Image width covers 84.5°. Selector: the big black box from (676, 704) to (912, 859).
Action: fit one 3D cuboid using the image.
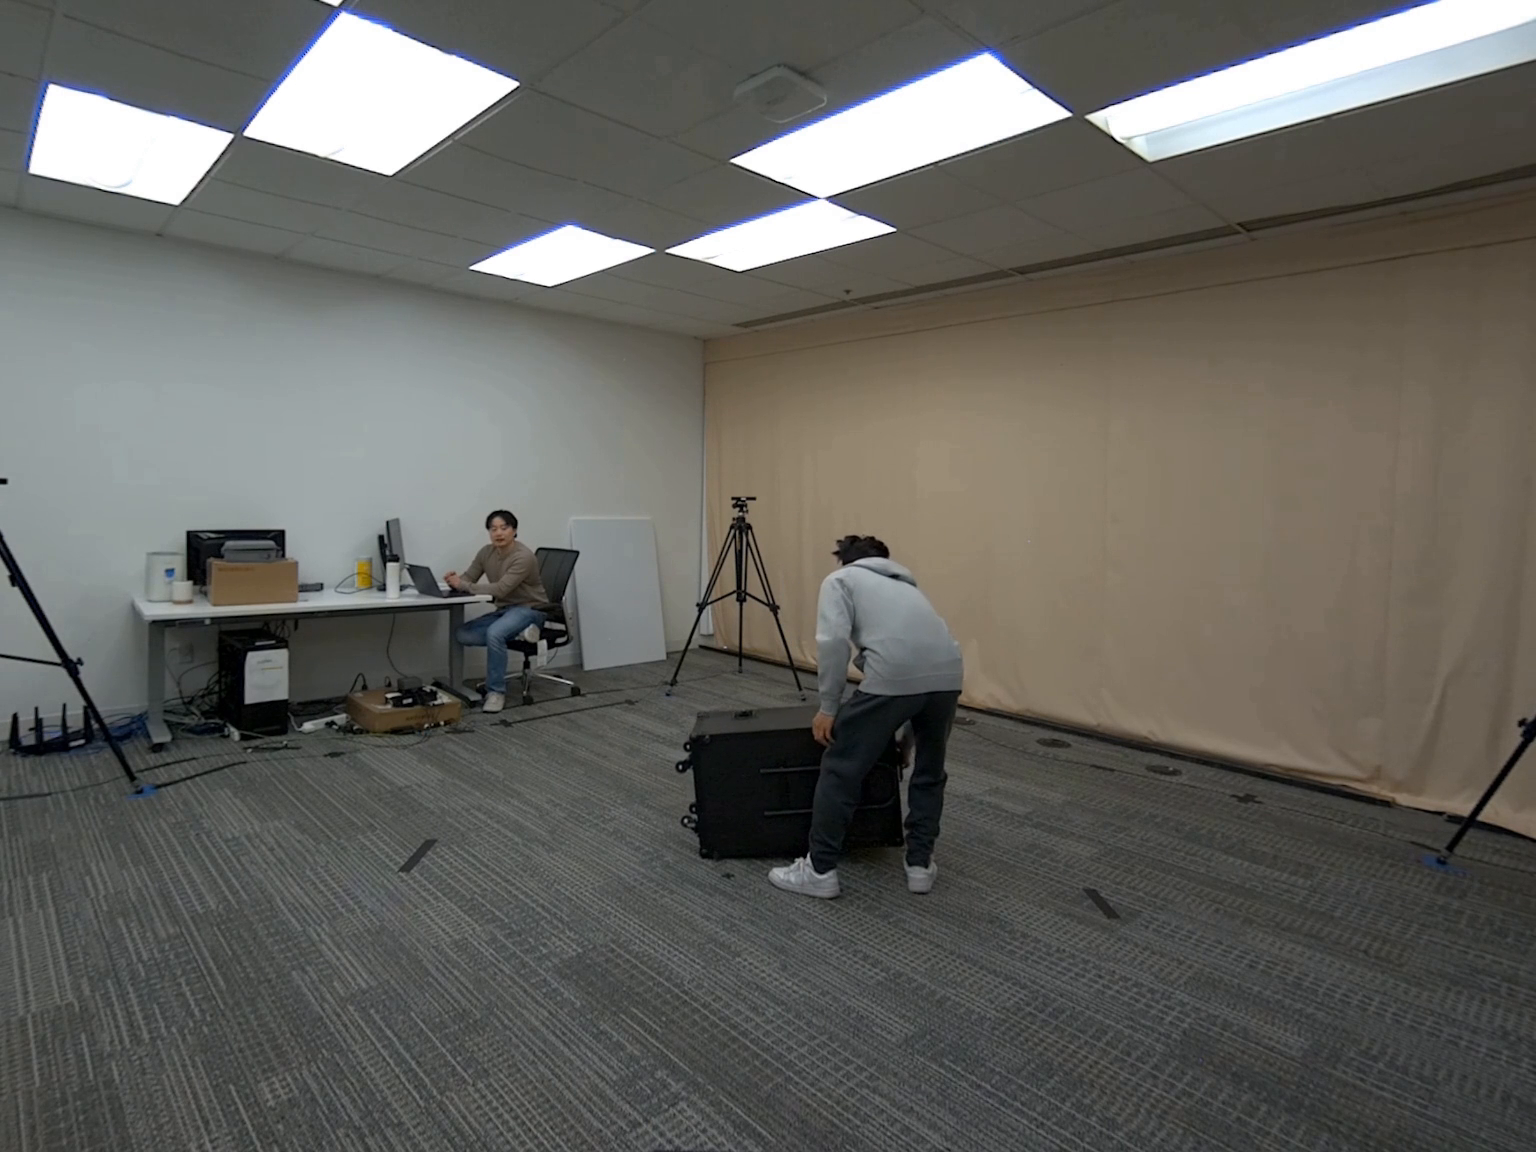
[{"bbox_3d":[0.069,0.804,3.376,0.863,0.520,0.396,-4,4,3],"label":"big black box"}]
